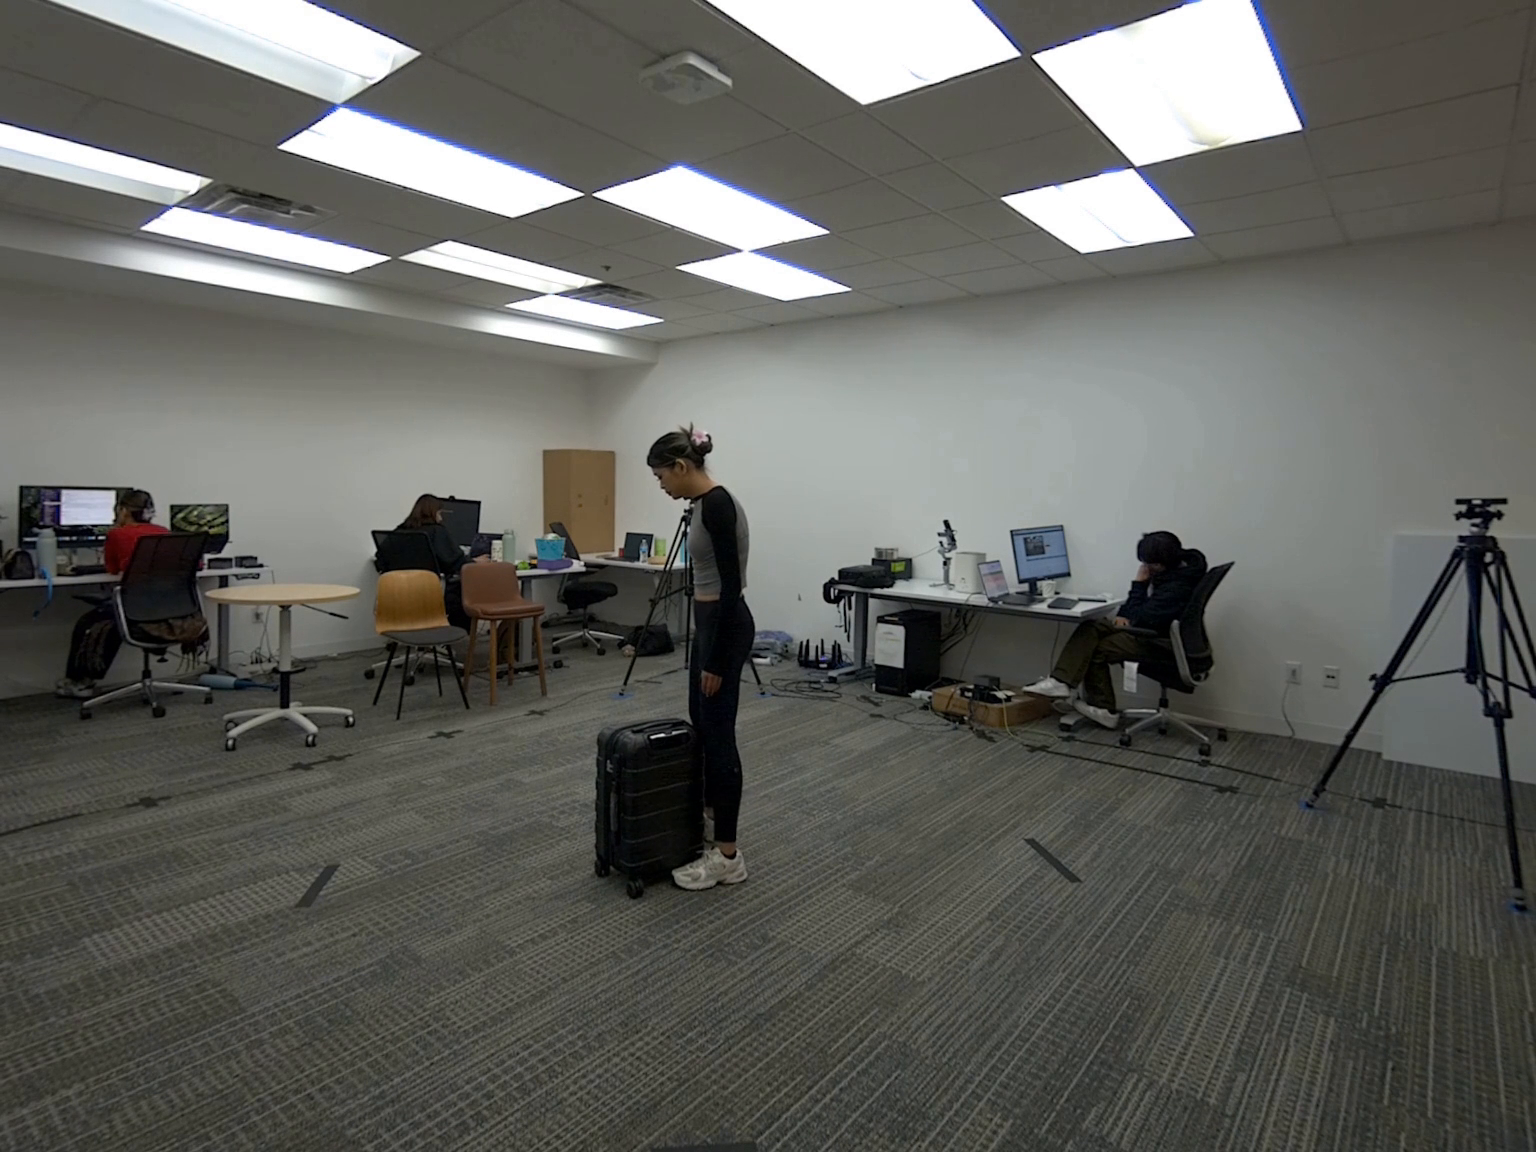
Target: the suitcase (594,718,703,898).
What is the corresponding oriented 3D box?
[{"bbox_3d":[-0.444,0.797,3.063,0.364,0.549,0.256,-2,2,-41],"label":"suitcase"}]
